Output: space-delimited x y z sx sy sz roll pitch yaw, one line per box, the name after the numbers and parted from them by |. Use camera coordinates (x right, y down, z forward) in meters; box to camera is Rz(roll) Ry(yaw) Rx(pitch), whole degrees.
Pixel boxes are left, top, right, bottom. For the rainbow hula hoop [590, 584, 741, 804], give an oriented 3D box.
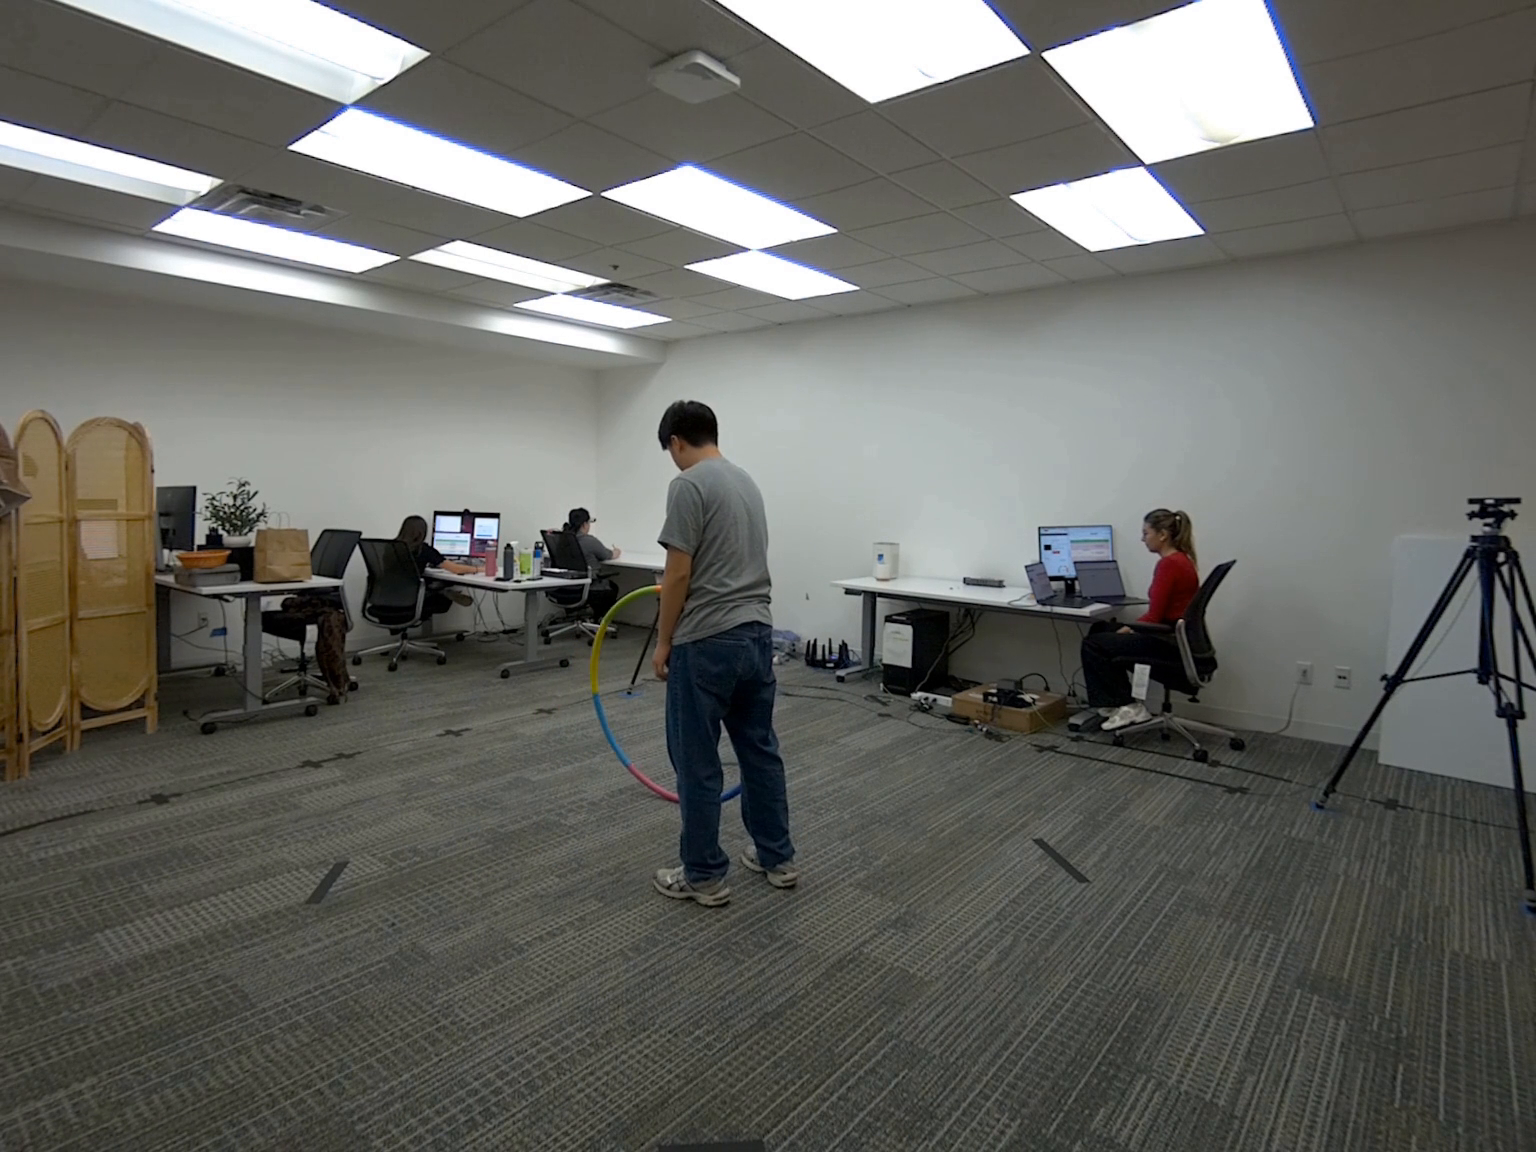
-0.413 0.519 3.689 1.009 0.970 0.035 4 10 34 | rainbow hula hoop
